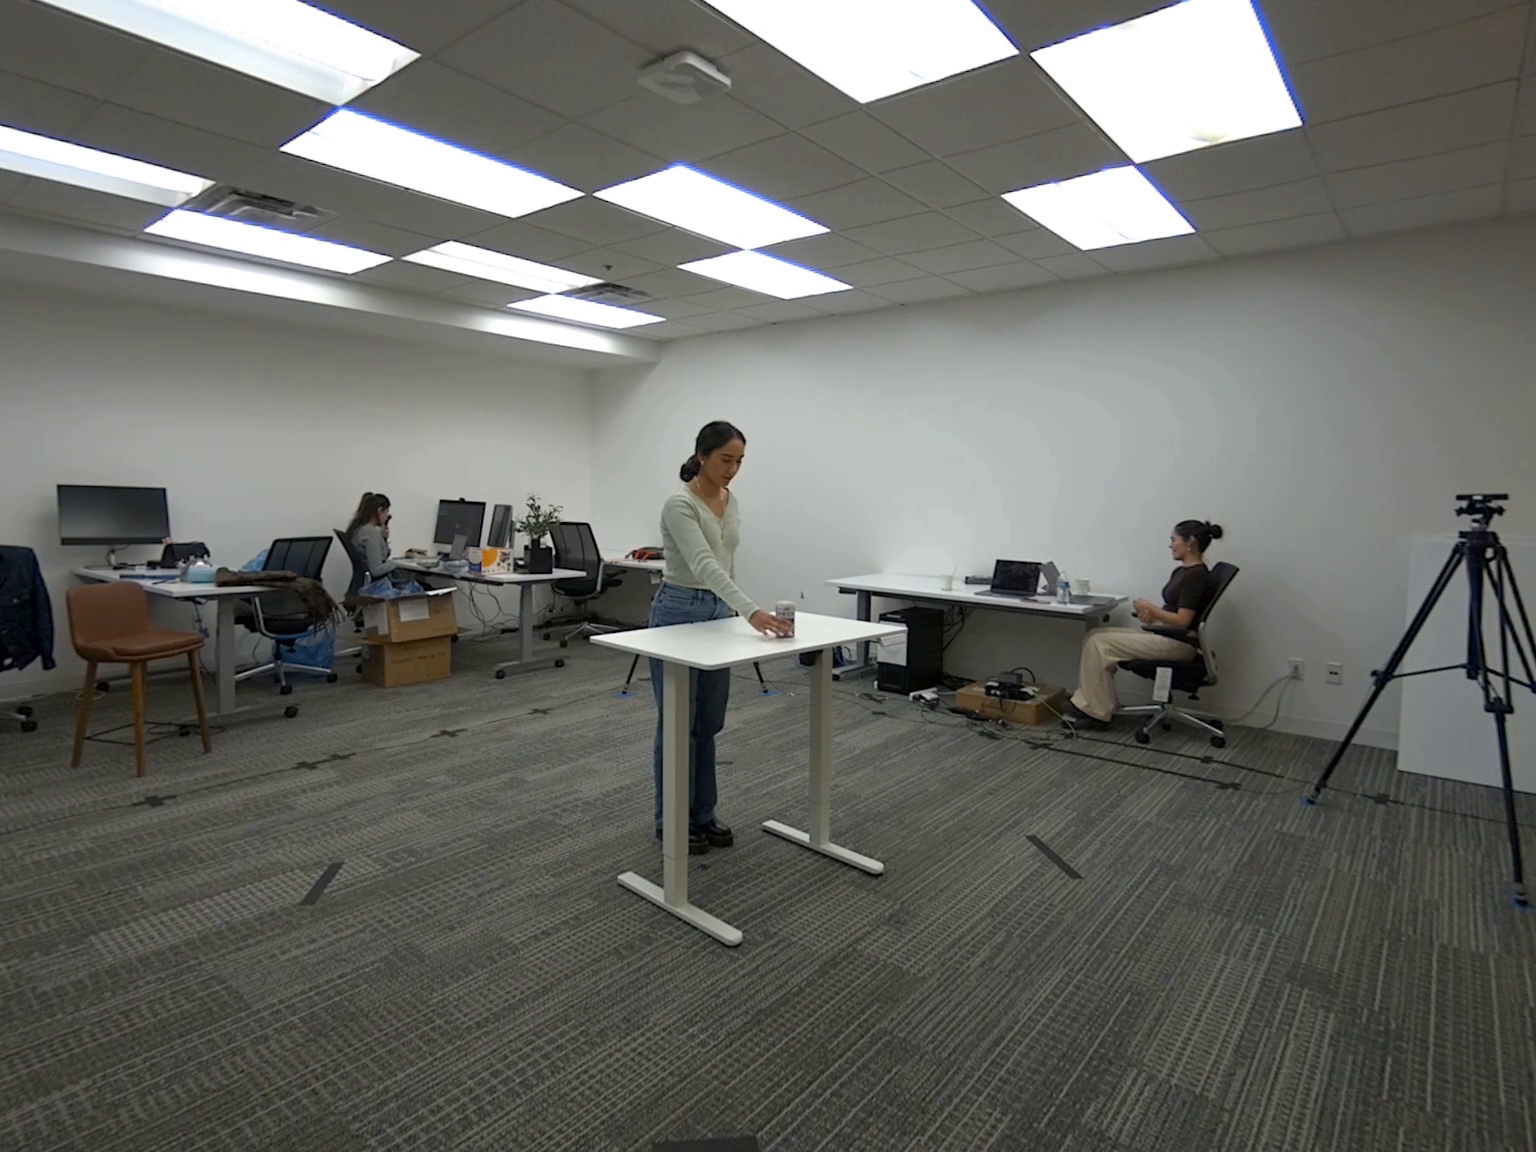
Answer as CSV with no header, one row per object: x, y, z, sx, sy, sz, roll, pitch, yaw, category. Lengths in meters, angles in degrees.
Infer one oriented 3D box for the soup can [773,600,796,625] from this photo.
0.048,0.149,2.907,0.067,0.121,0.068,-4,7,-1,soup can
